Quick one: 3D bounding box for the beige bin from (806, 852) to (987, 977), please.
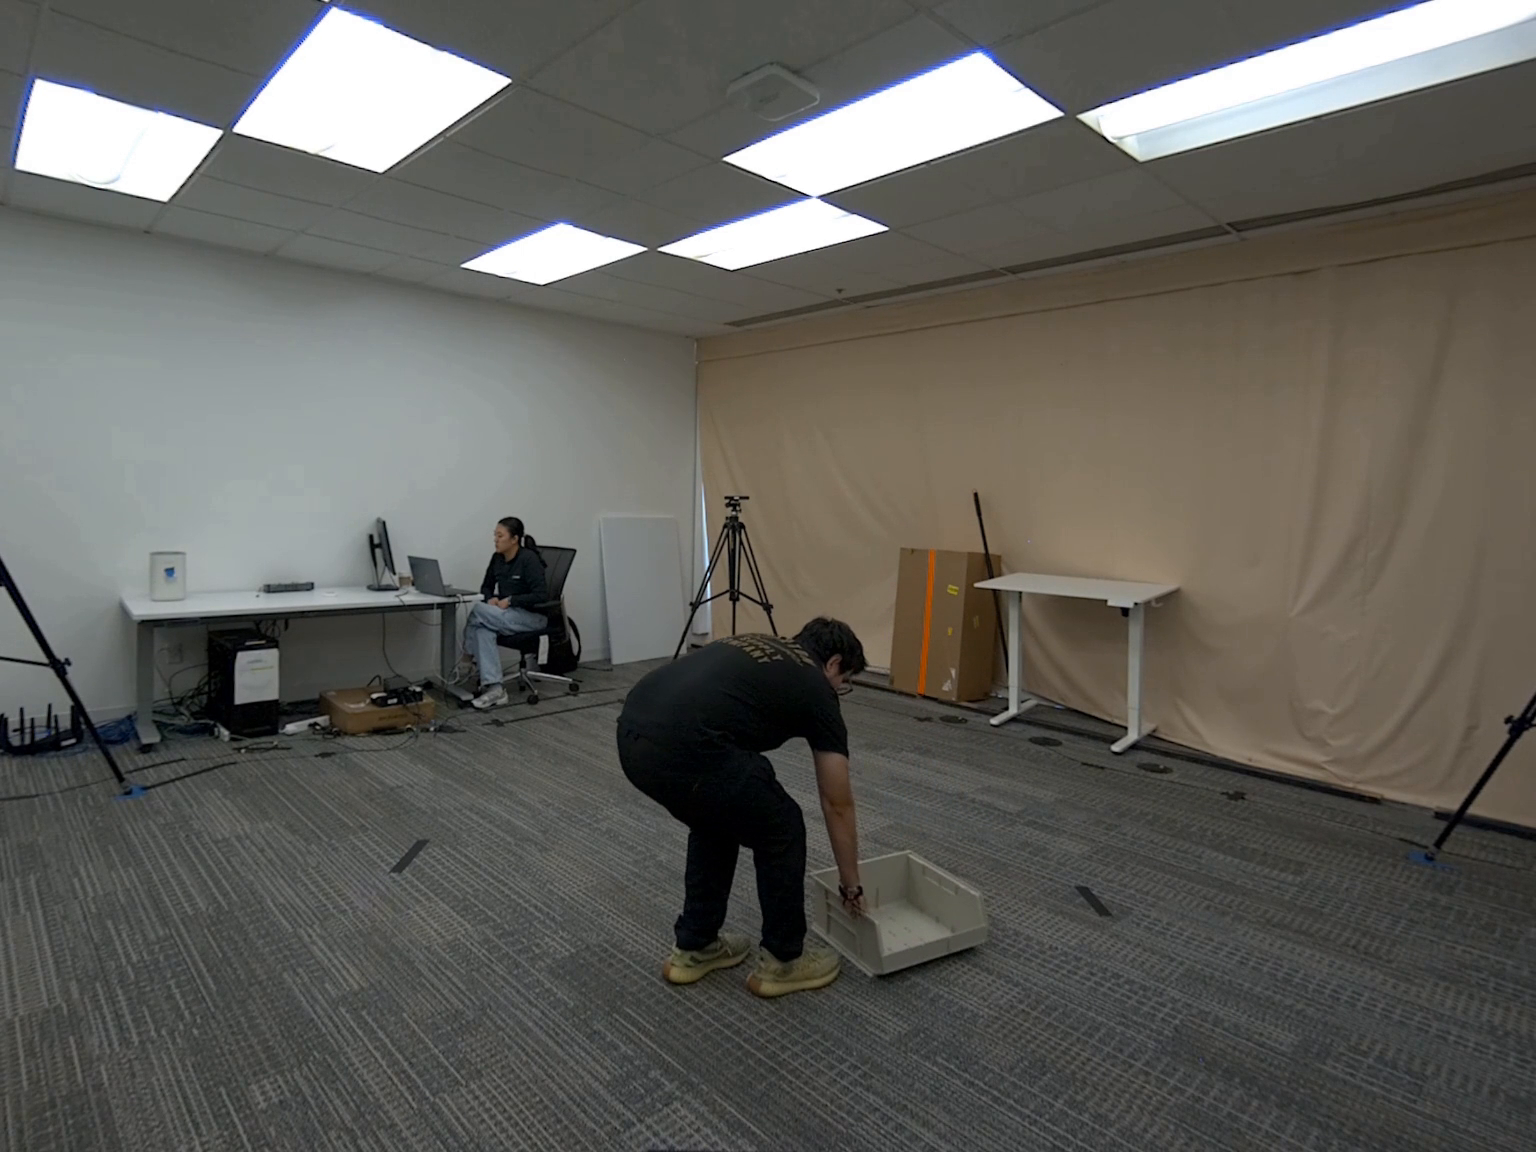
[{"bbox_3d":[0.404,1.068,2.668,0.414,0.188,0.386,-2,5,-30],"label":"beige bin"}]
